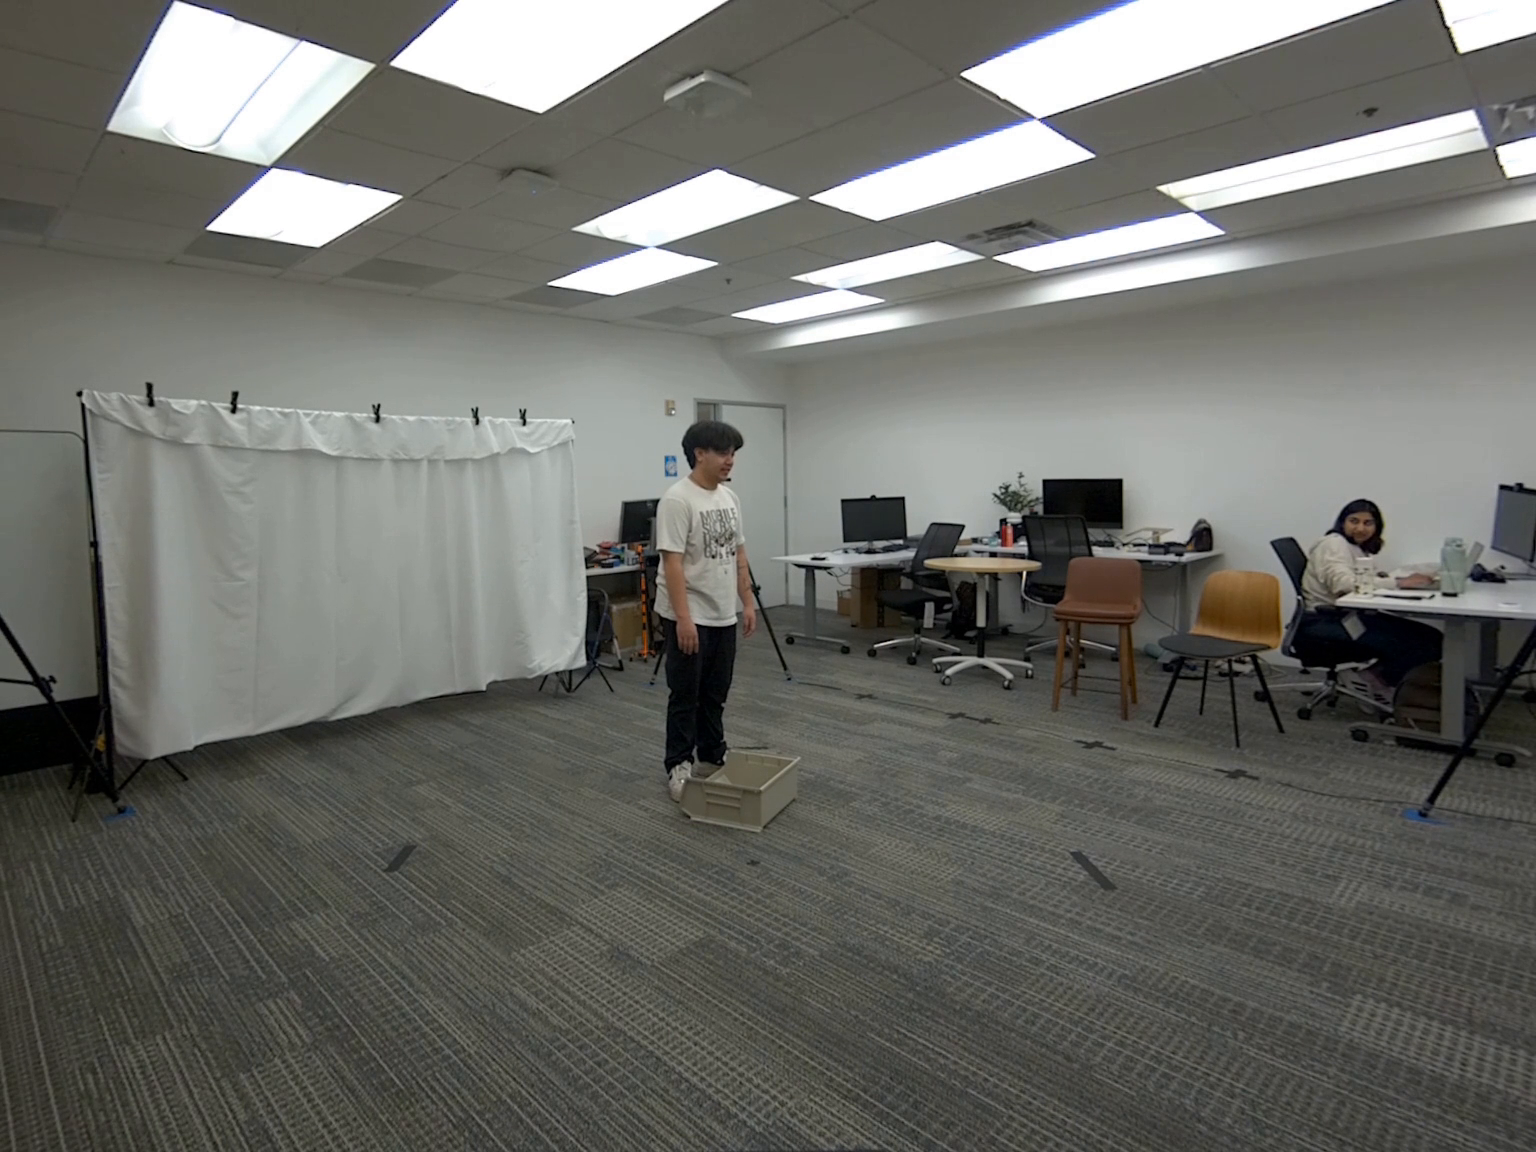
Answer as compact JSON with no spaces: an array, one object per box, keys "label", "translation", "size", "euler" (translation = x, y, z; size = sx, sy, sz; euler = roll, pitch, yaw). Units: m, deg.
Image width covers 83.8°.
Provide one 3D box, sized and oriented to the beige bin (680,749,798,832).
[{"label":"beige bin","translation":[-0.110,0.894,3.623],"size":[0.386,0.188,0.414],"euler":[3,6,24]}]
